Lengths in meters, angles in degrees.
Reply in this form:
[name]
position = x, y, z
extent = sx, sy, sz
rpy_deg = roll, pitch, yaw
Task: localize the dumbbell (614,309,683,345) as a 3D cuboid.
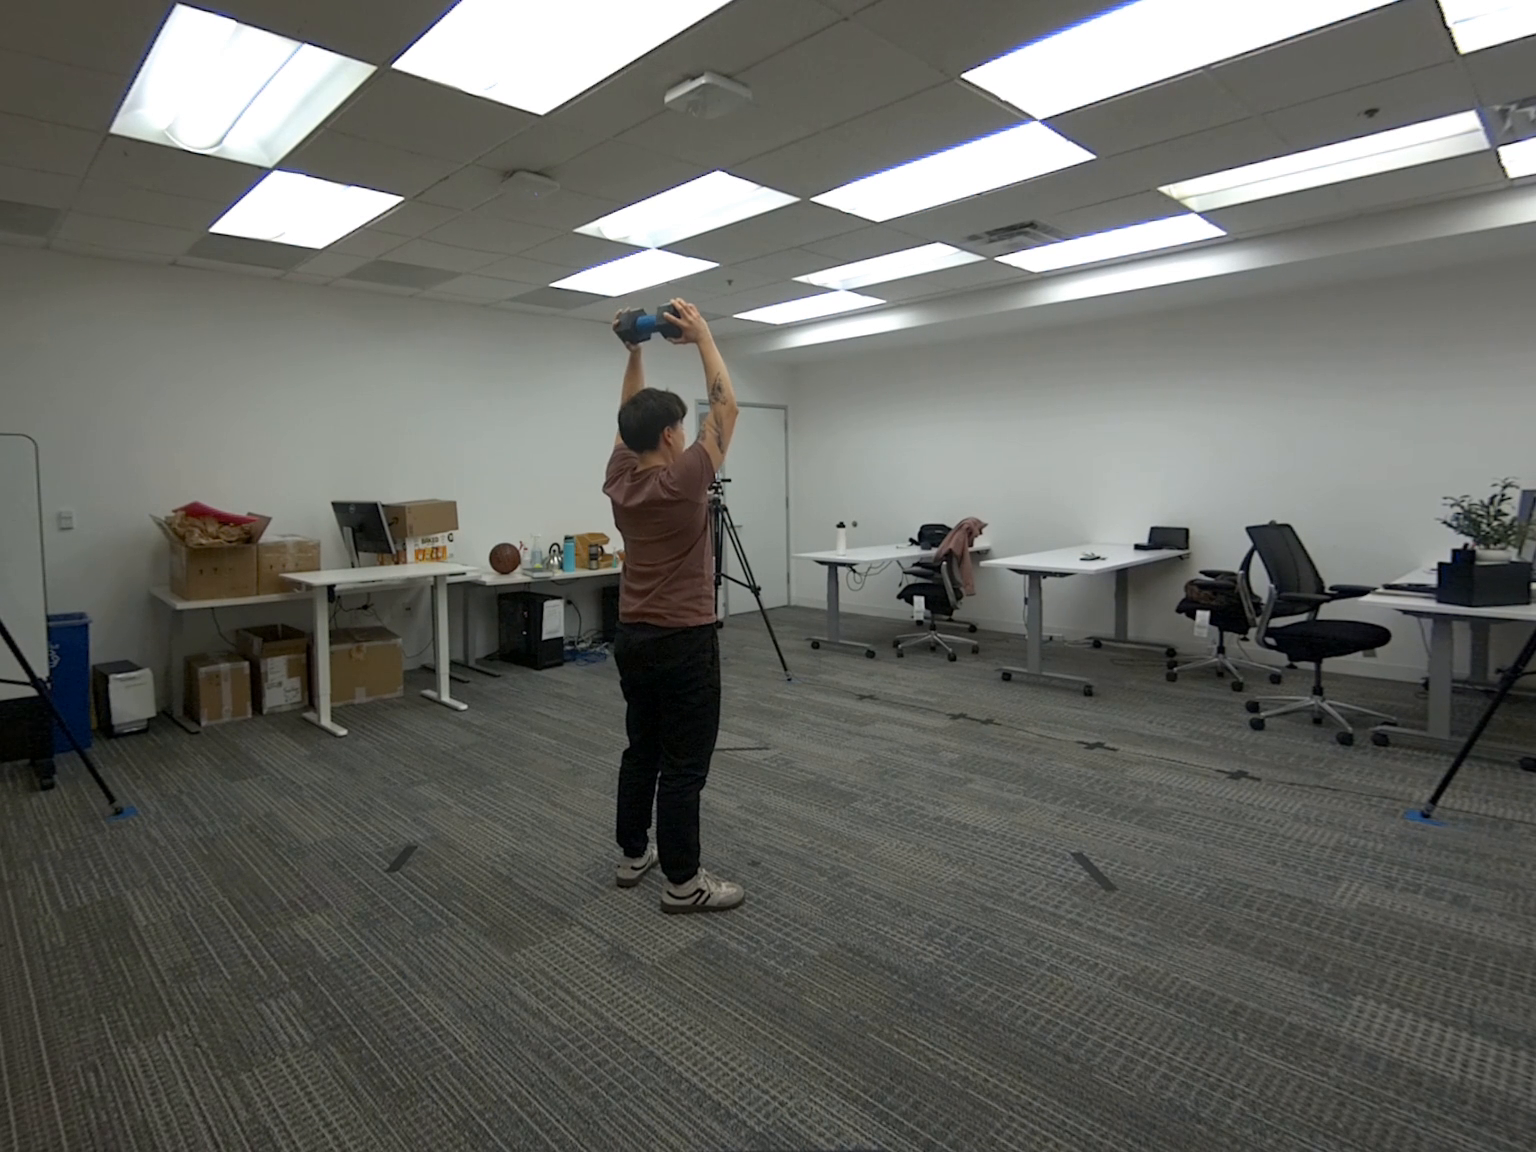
[dumbbell]
position = -0.372, -0.823, 2.817
extent = 0.303, 0.109, 0.118
rpy_deg = 9, -29, 45
